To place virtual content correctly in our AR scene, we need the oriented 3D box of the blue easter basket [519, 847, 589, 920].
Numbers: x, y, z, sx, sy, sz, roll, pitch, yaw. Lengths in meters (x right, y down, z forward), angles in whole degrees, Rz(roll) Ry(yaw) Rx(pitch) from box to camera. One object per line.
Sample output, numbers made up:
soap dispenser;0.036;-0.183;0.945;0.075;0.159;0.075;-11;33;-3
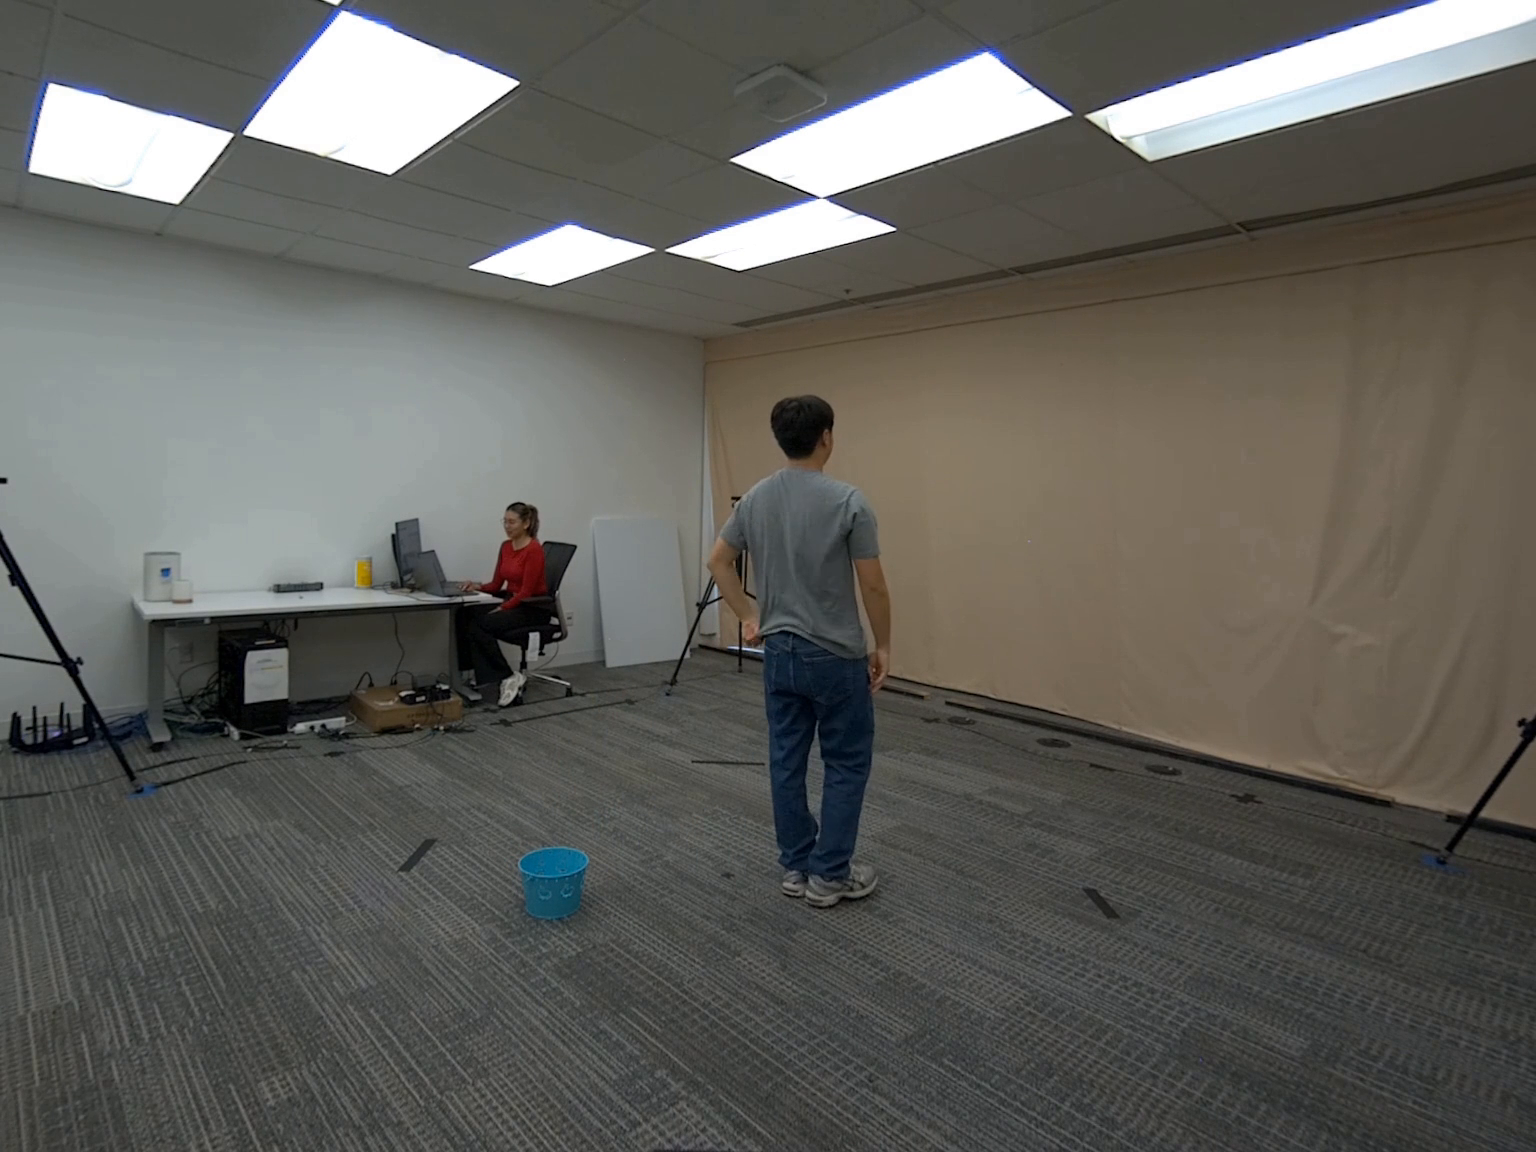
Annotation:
blue easter basket;-0.738;1.041;2.841;0.243;0.155;0.244;1;5;-1
